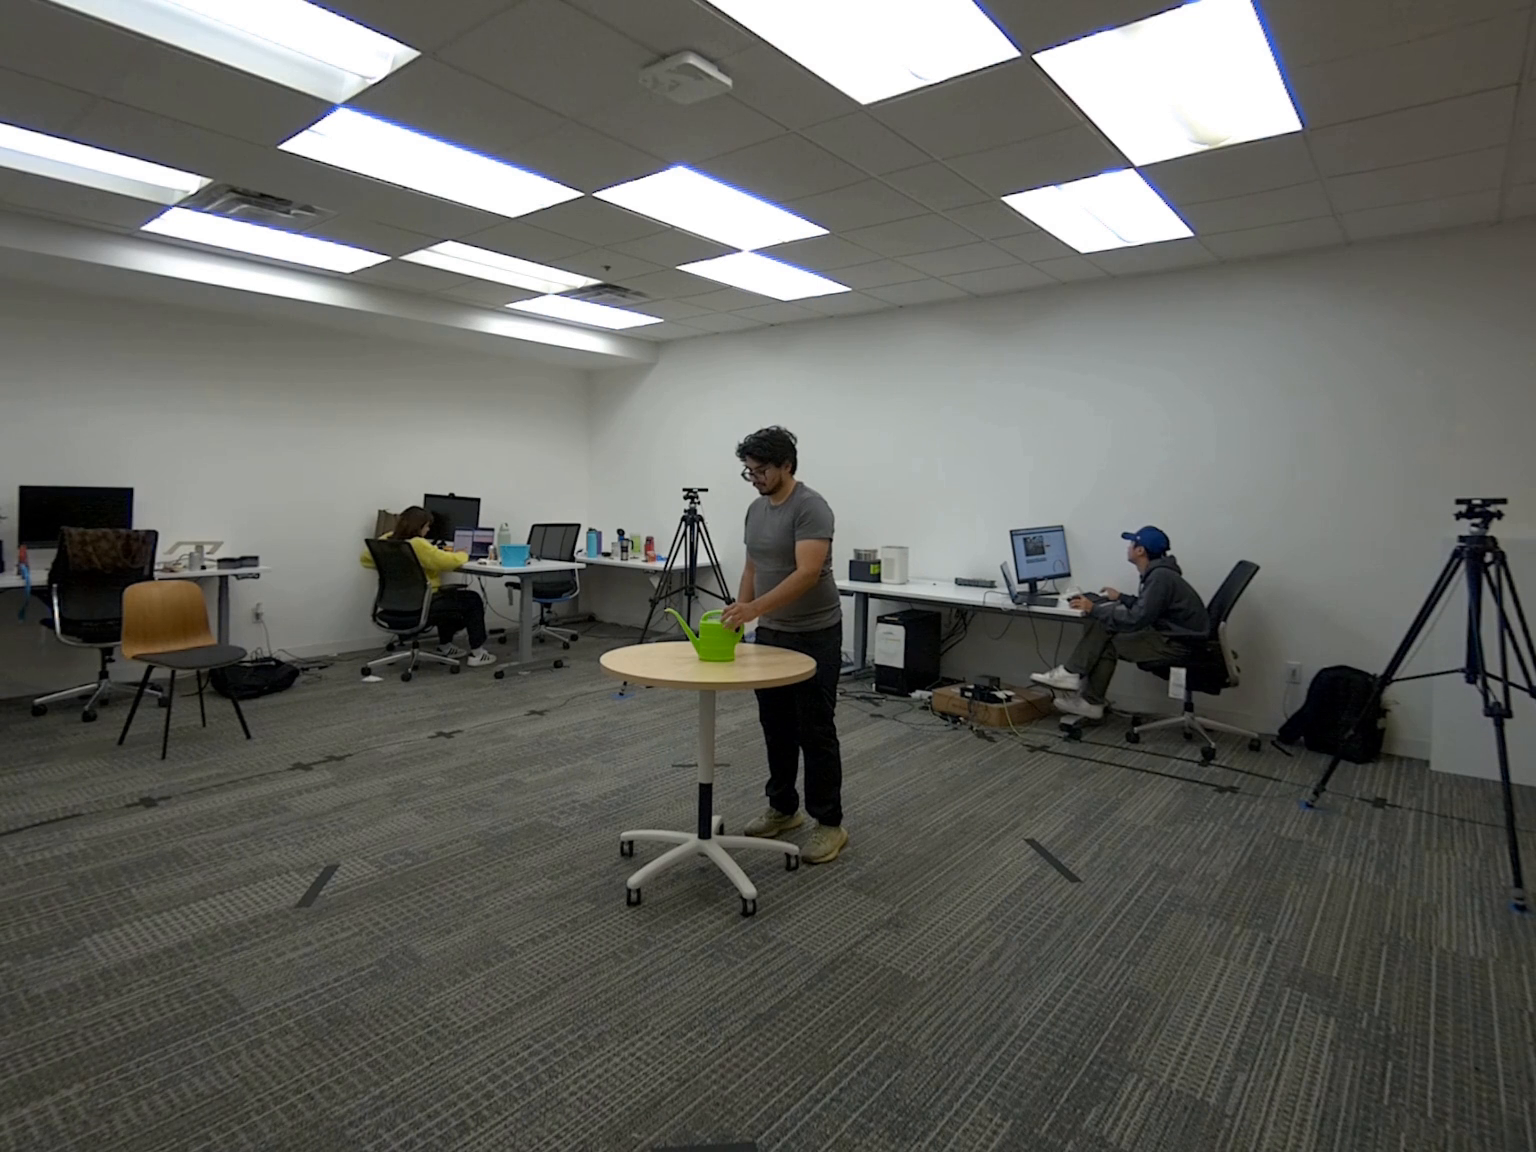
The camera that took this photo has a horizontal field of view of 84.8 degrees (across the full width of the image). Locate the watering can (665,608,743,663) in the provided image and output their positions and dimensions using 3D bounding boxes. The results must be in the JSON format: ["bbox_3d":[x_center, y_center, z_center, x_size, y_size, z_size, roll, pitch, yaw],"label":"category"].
[{"bbox_3d":[-0.241,0.209,3.036,0.283,0.176,0.096,3,3,16],"label":"watering can"}]
